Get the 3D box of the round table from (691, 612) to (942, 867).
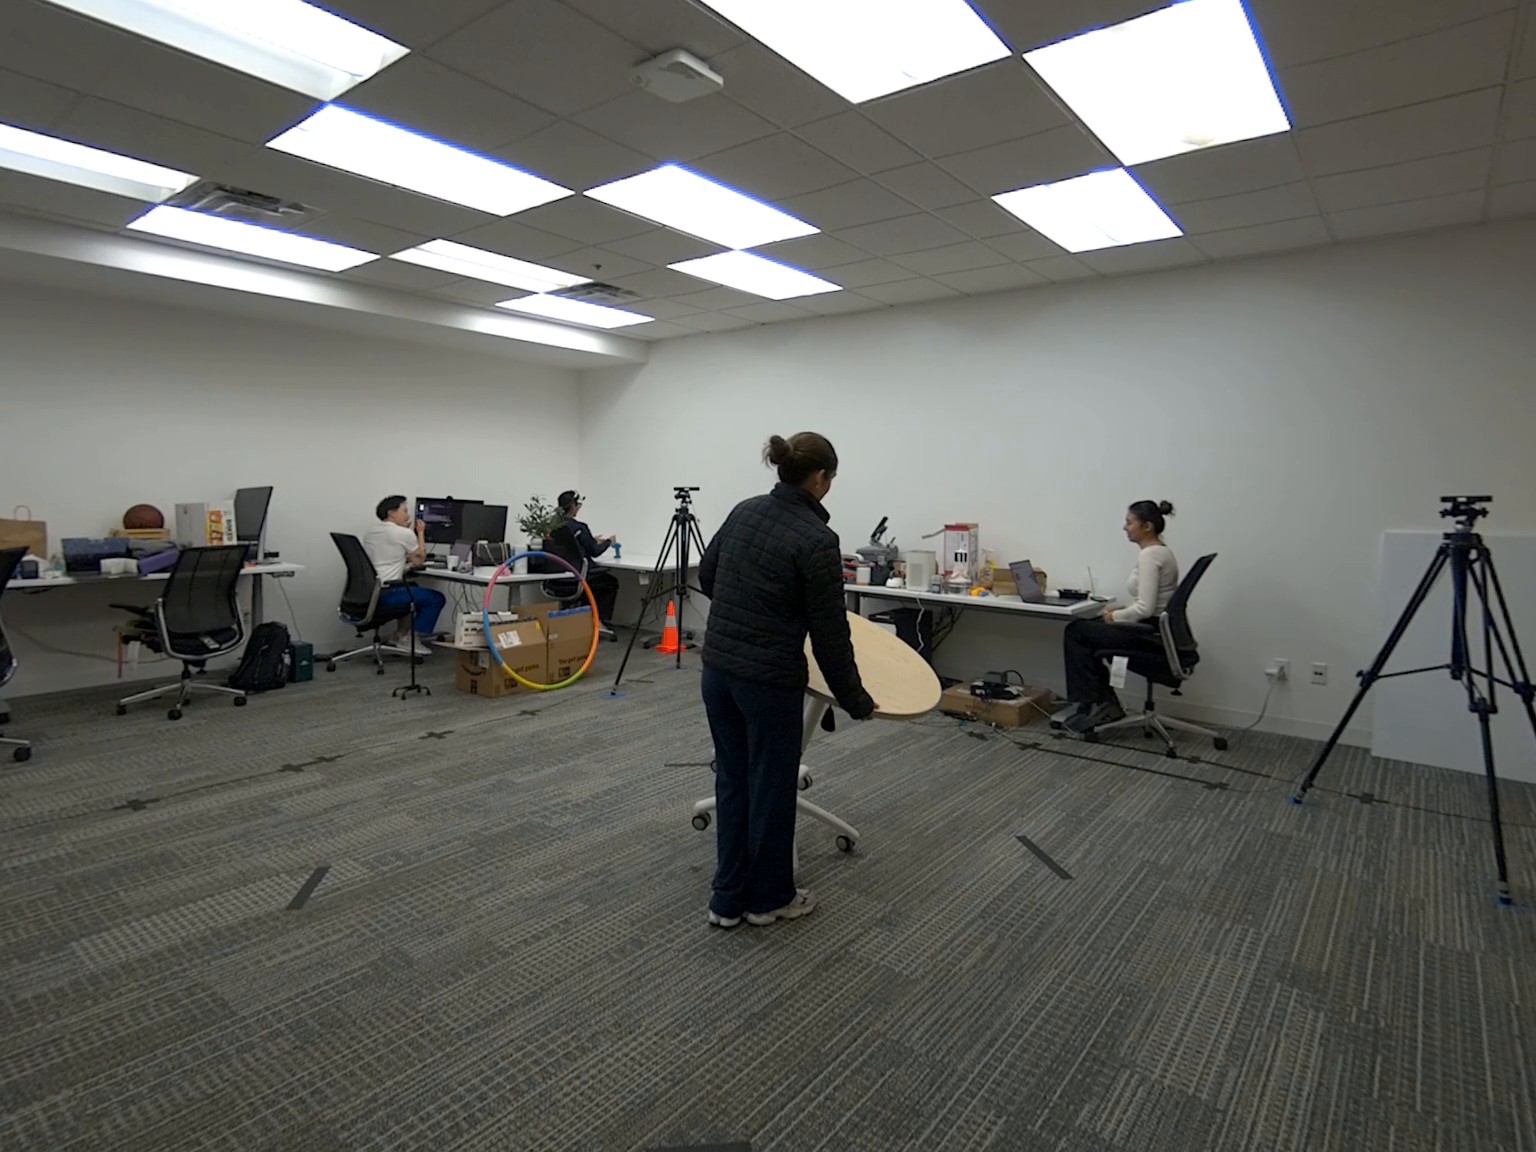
[{"bbox_3d":[0.148,0.604,3.195,0.778,0.778,0.801,17,19,-8],"label":"round table"}]
